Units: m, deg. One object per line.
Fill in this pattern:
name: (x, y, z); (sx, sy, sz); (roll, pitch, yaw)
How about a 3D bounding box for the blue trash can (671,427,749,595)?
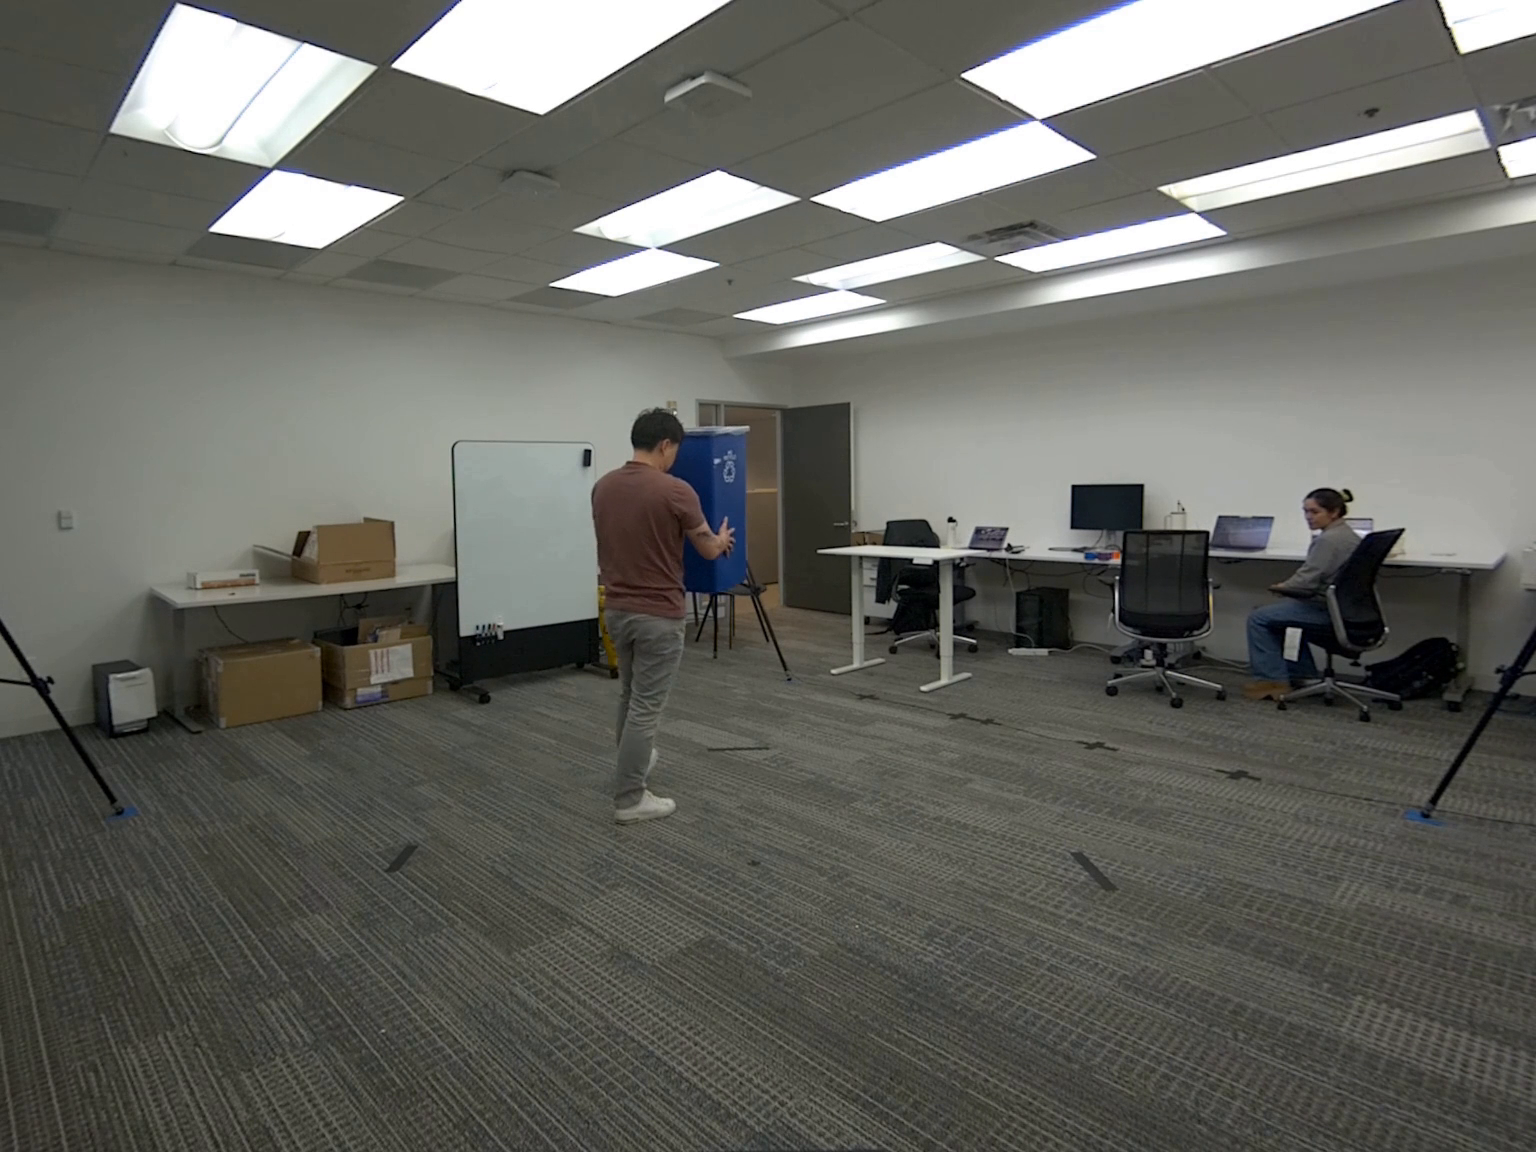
blue trash can: (-0.306, -0.310, 3.872); (0.388, 0.707, 0.368); (3, 11, 27)
